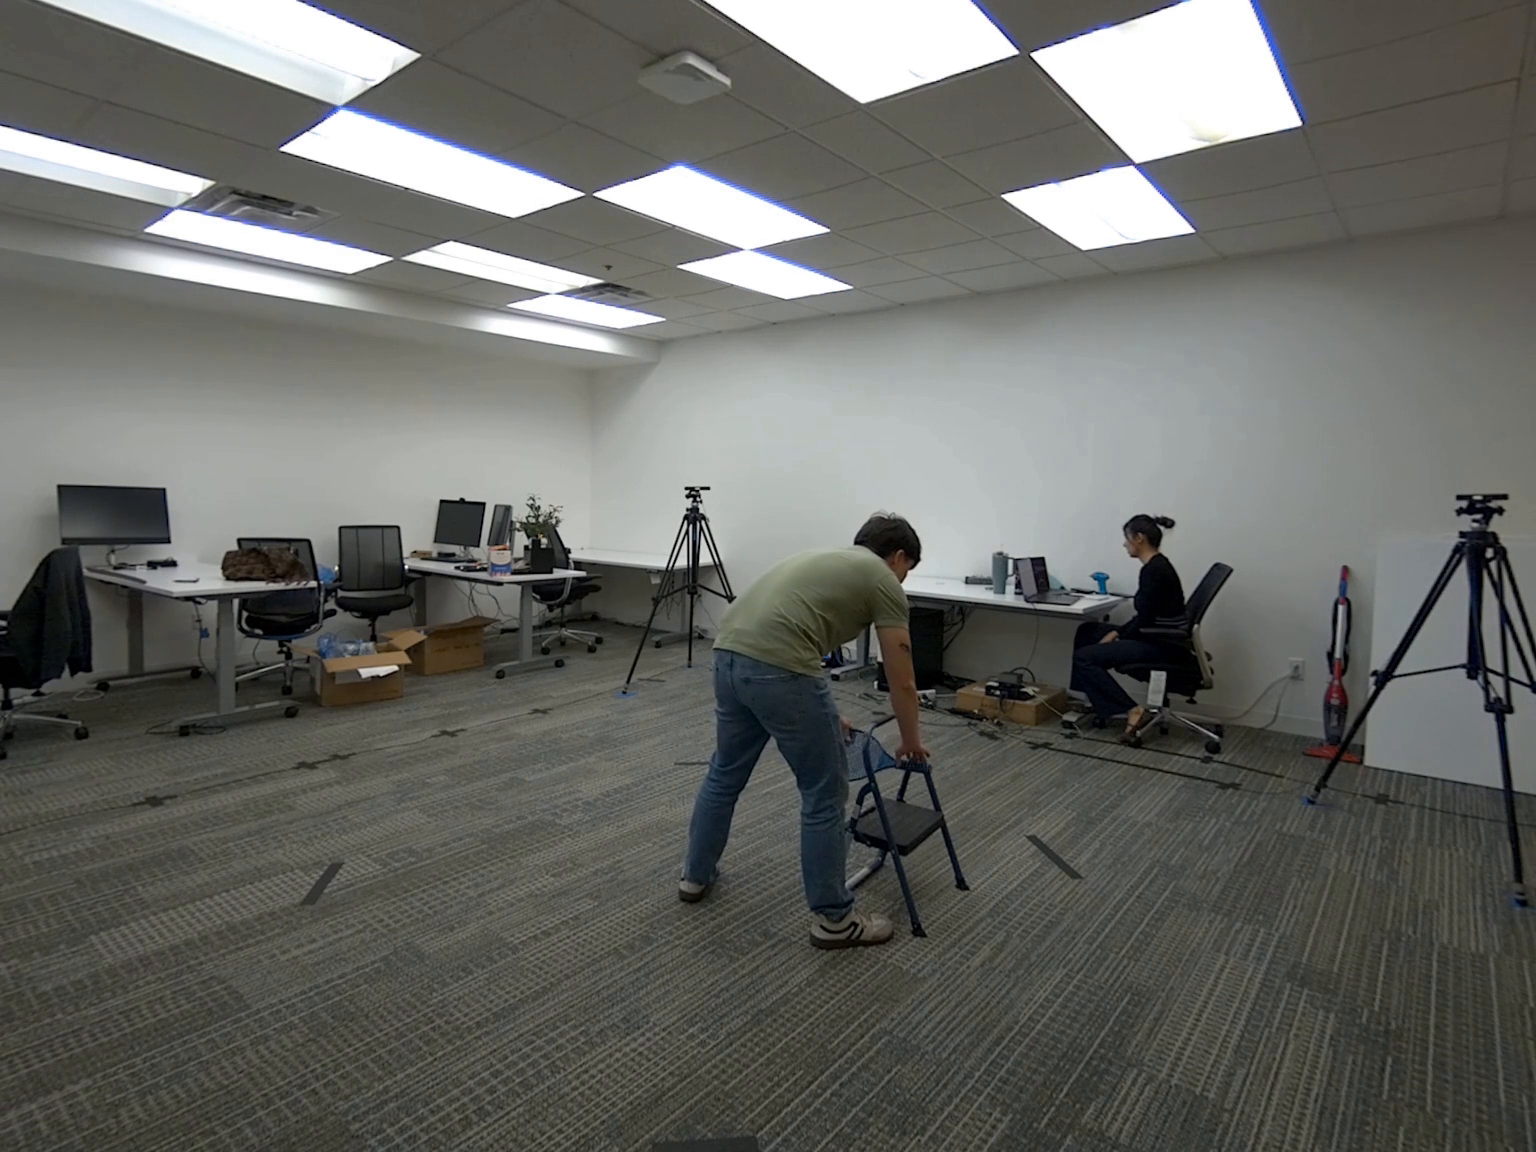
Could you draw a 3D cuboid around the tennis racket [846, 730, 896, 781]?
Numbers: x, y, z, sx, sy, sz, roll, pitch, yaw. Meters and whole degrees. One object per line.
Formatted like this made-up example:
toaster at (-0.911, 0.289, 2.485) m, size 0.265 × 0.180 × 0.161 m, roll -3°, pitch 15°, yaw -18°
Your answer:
tennis racket at (0.335, 0.637, 2.899) m, size 0.446 × 0.030 × 0.215 m, roll 8°, pitch 47°, yaw 30°
